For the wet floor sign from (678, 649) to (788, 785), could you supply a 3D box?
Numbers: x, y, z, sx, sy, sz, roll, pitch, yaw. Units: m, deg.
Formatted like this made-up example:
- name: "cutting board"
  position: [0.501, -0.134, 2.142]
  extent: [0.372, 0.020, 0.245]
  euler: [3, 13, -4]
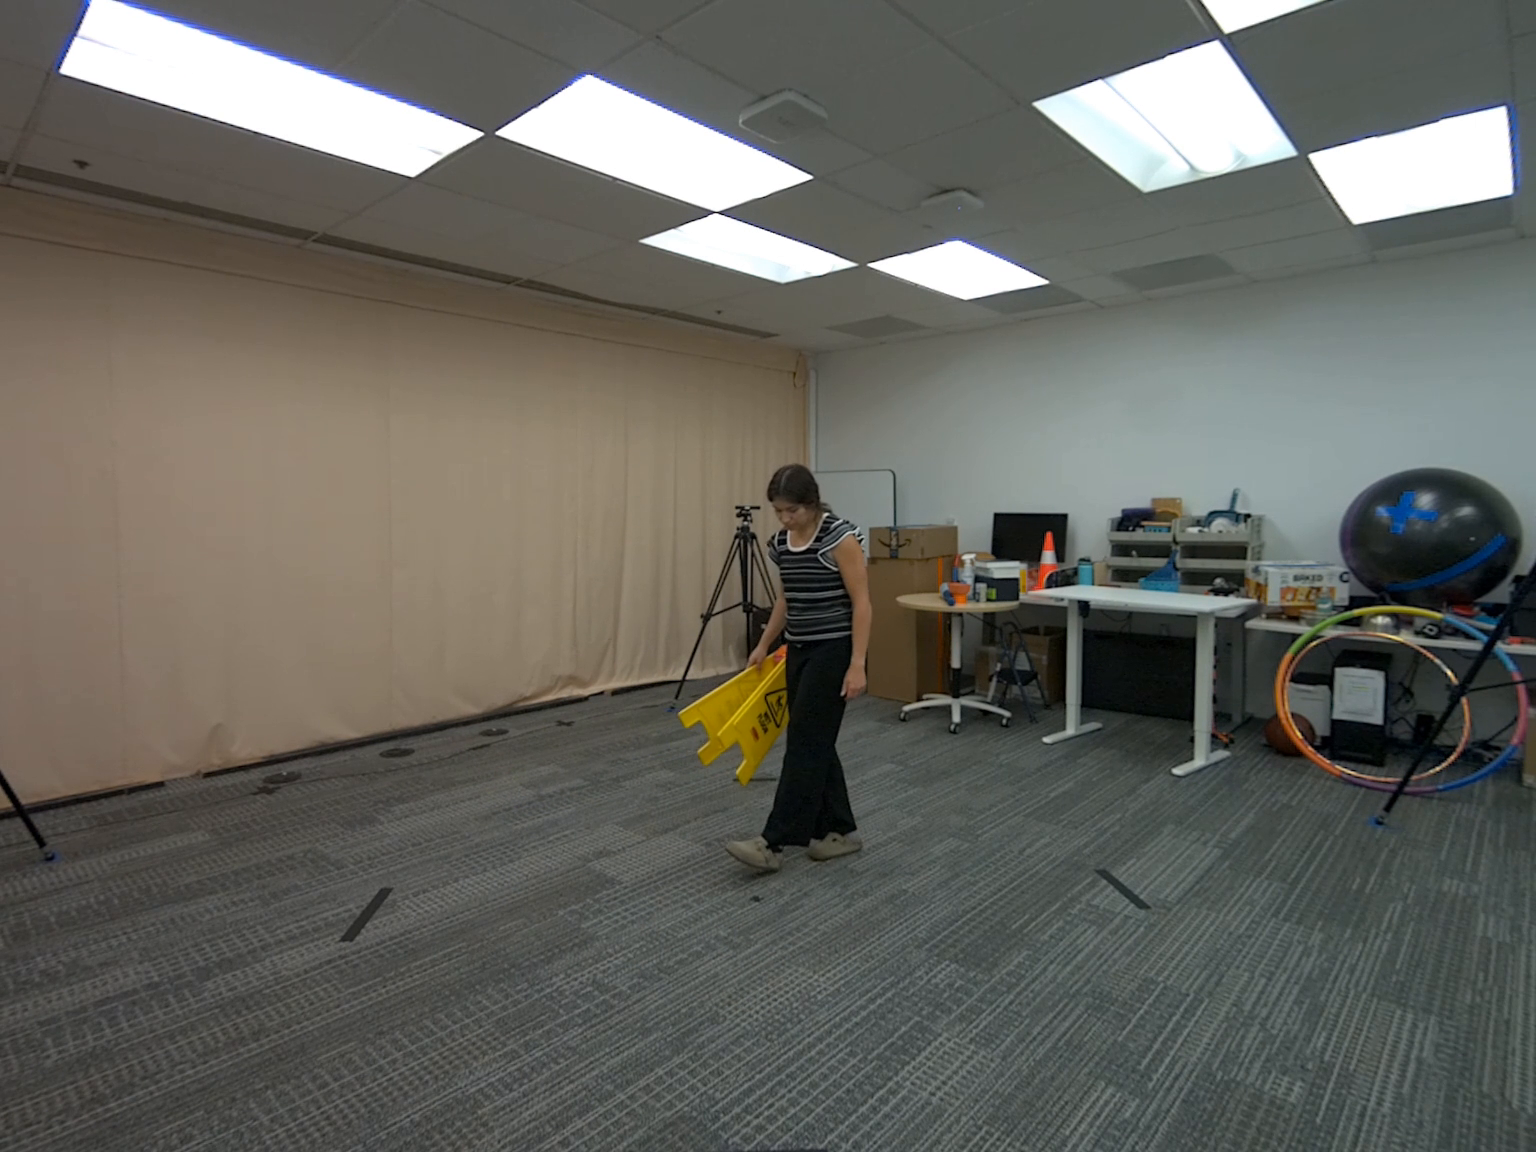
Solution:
- name: "wet floor sign"
  position: [-0.020, 0.511, 3.510]
  extent: [0.639, 0.275, 0.300]
  euler: [-40, 32, -28]
